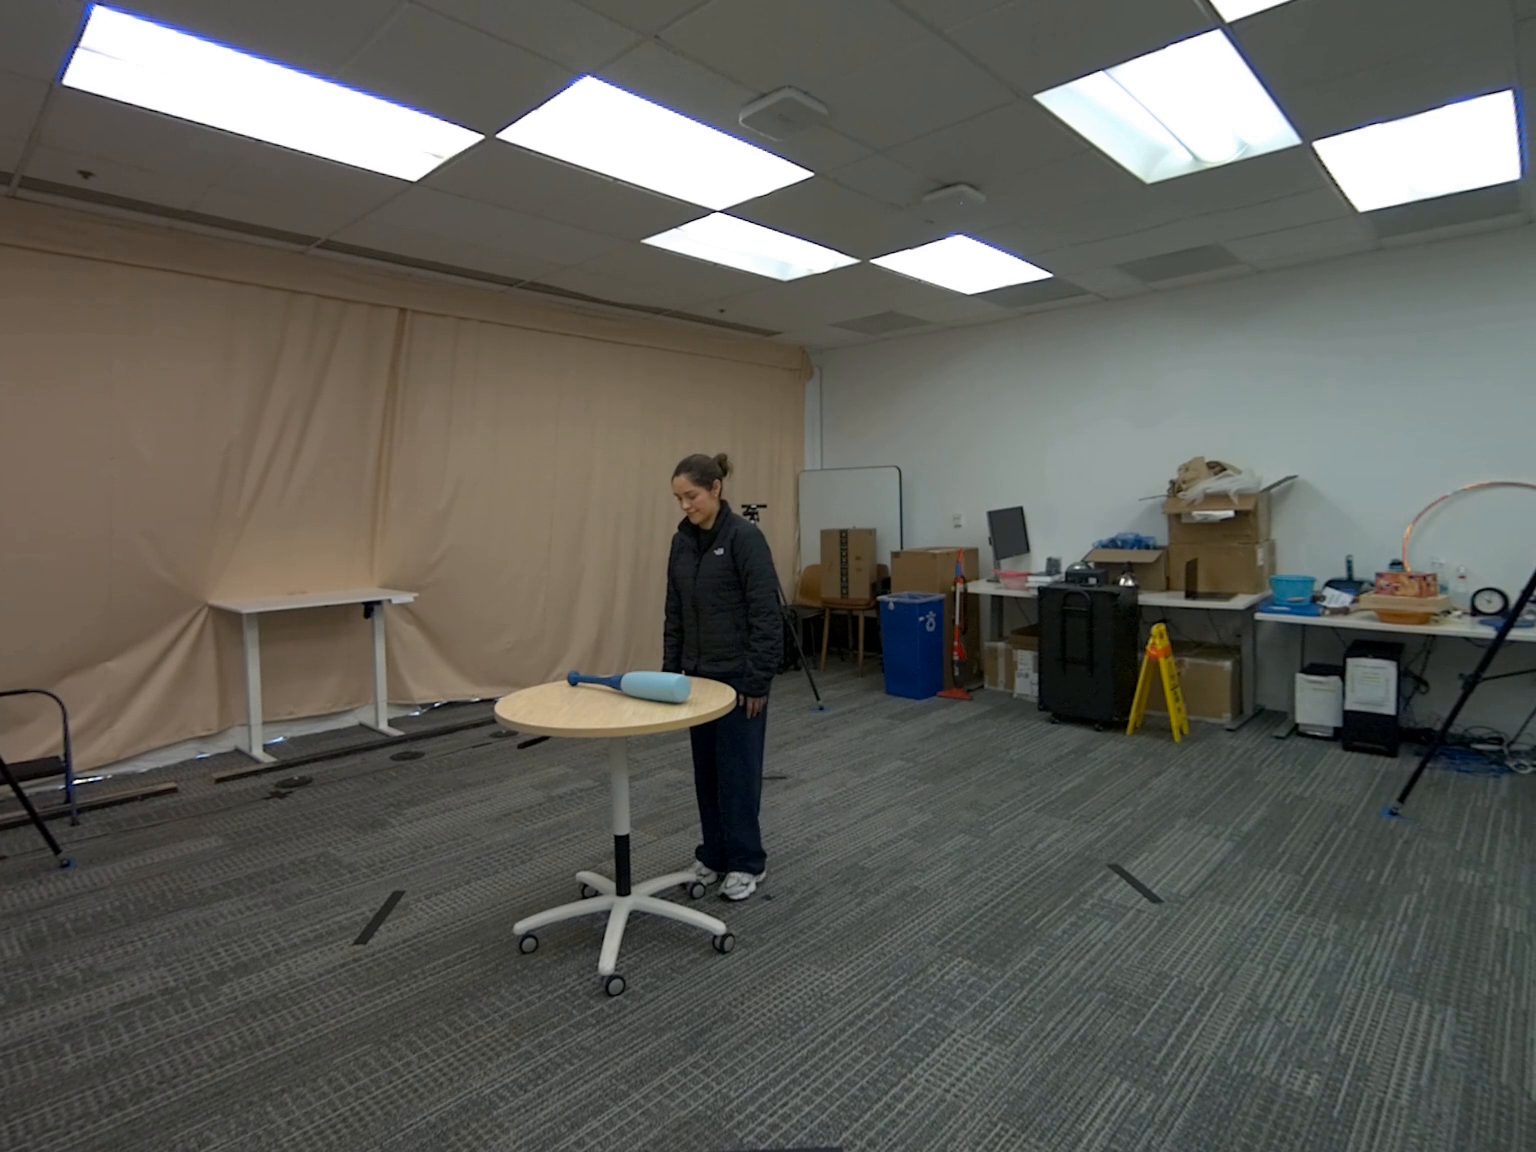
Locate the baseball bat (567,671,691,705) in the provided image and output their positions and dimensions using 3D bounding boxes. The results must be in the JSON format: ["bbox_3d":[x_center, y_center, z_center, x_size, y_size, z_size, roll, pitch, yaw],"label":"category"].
[{"bbox_3d":[-0.453,0.347,2.753,0.560,0.089,0.086,-2,2,39],"label":"baseball bat"}]
